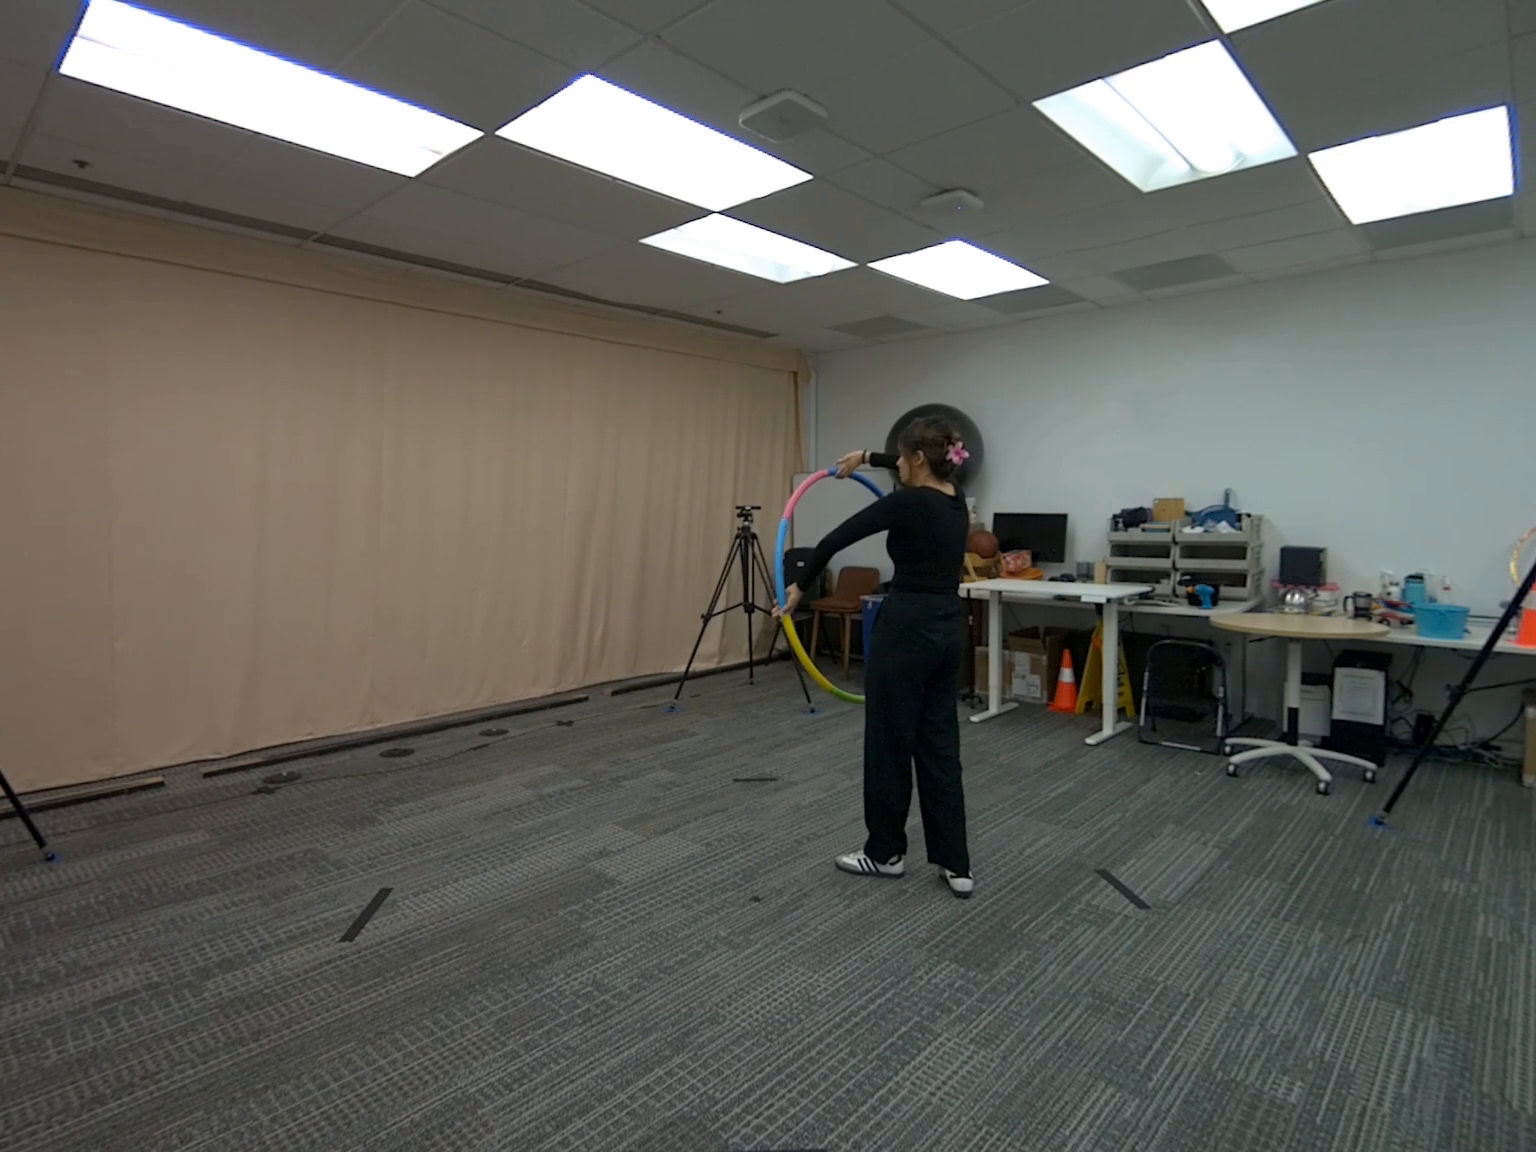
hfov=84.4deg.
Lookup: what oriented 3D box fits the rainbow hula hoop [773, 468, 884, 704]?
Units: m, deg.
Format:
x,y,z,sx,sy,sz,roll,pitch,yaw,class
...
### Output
x,y,z,sx,sy,sz,roll,pitch,yaw,class
0.377,0.033,3.536,0.955,0.990,0.053,-4,-7,-44,rainbow hula hoop
